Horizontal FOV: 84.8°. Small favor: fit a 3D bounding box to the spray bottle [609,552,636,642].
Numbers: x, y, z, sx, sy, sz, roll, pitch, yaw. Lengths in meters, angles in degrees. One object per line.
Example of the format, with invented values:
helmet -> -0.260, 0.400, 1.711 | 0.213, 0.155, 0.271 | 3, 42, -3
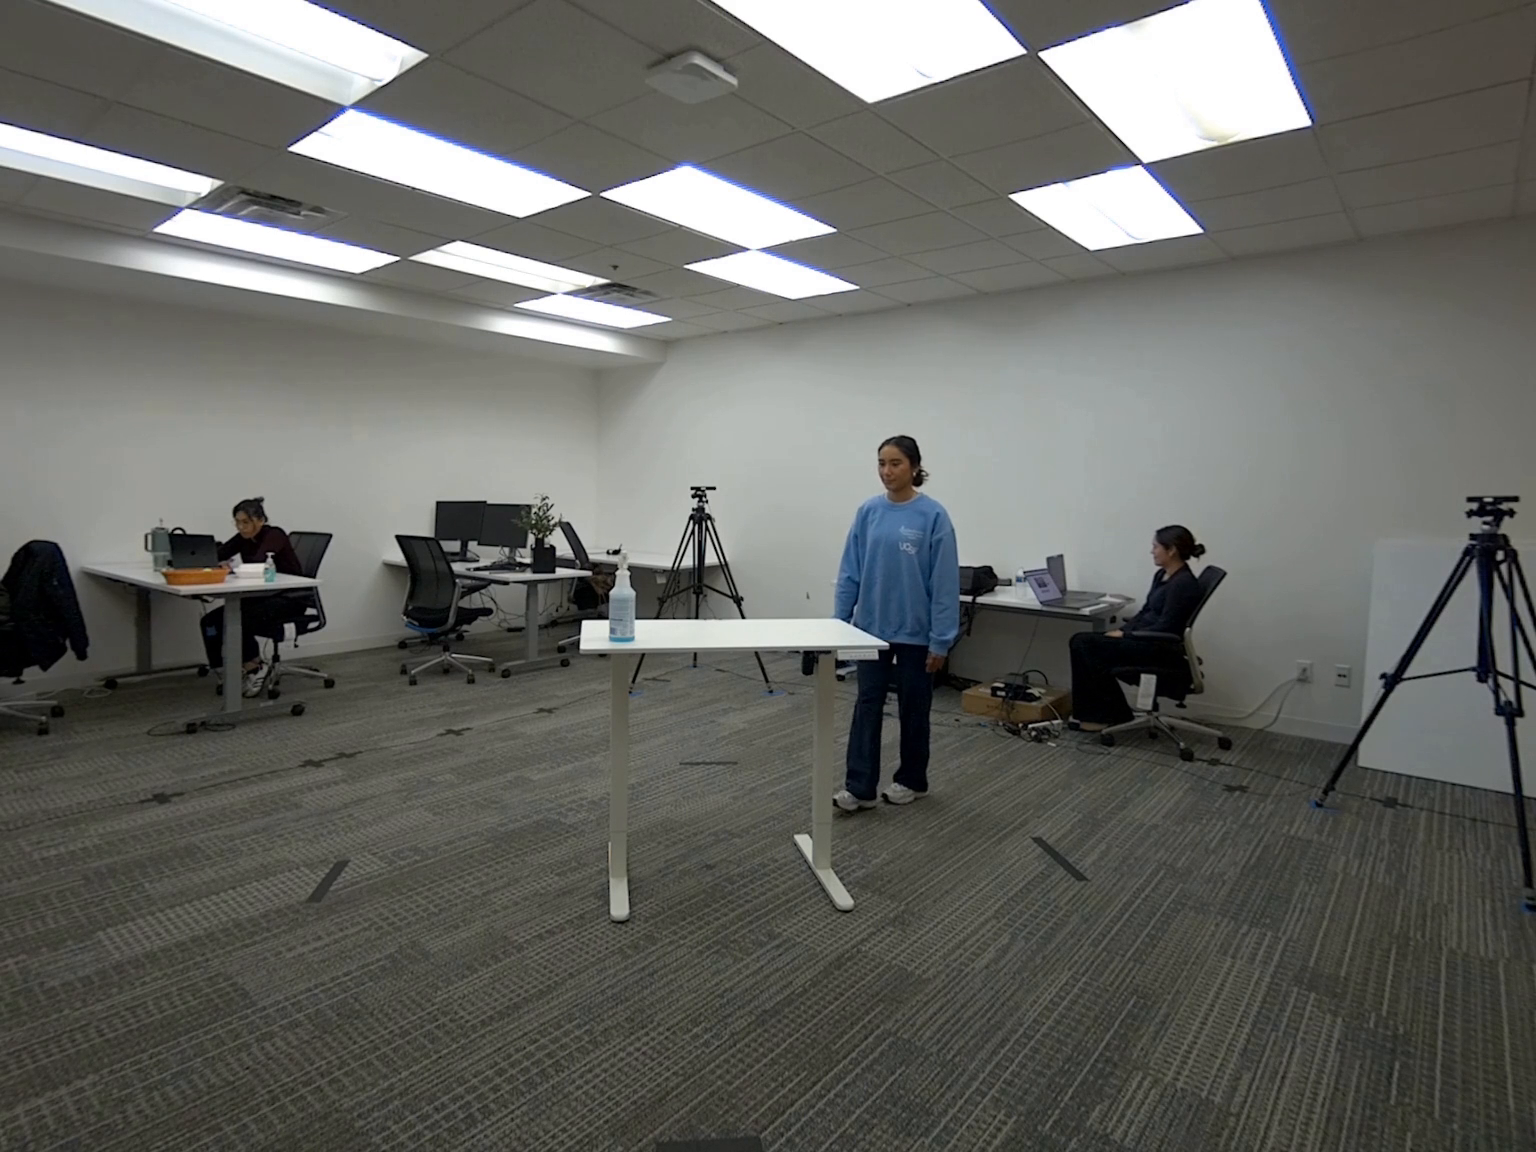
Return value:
spray bottle -> -0.493, 0.064, 2.797 | 0.088, 0.297, 0.089 | 3, 3, 8
